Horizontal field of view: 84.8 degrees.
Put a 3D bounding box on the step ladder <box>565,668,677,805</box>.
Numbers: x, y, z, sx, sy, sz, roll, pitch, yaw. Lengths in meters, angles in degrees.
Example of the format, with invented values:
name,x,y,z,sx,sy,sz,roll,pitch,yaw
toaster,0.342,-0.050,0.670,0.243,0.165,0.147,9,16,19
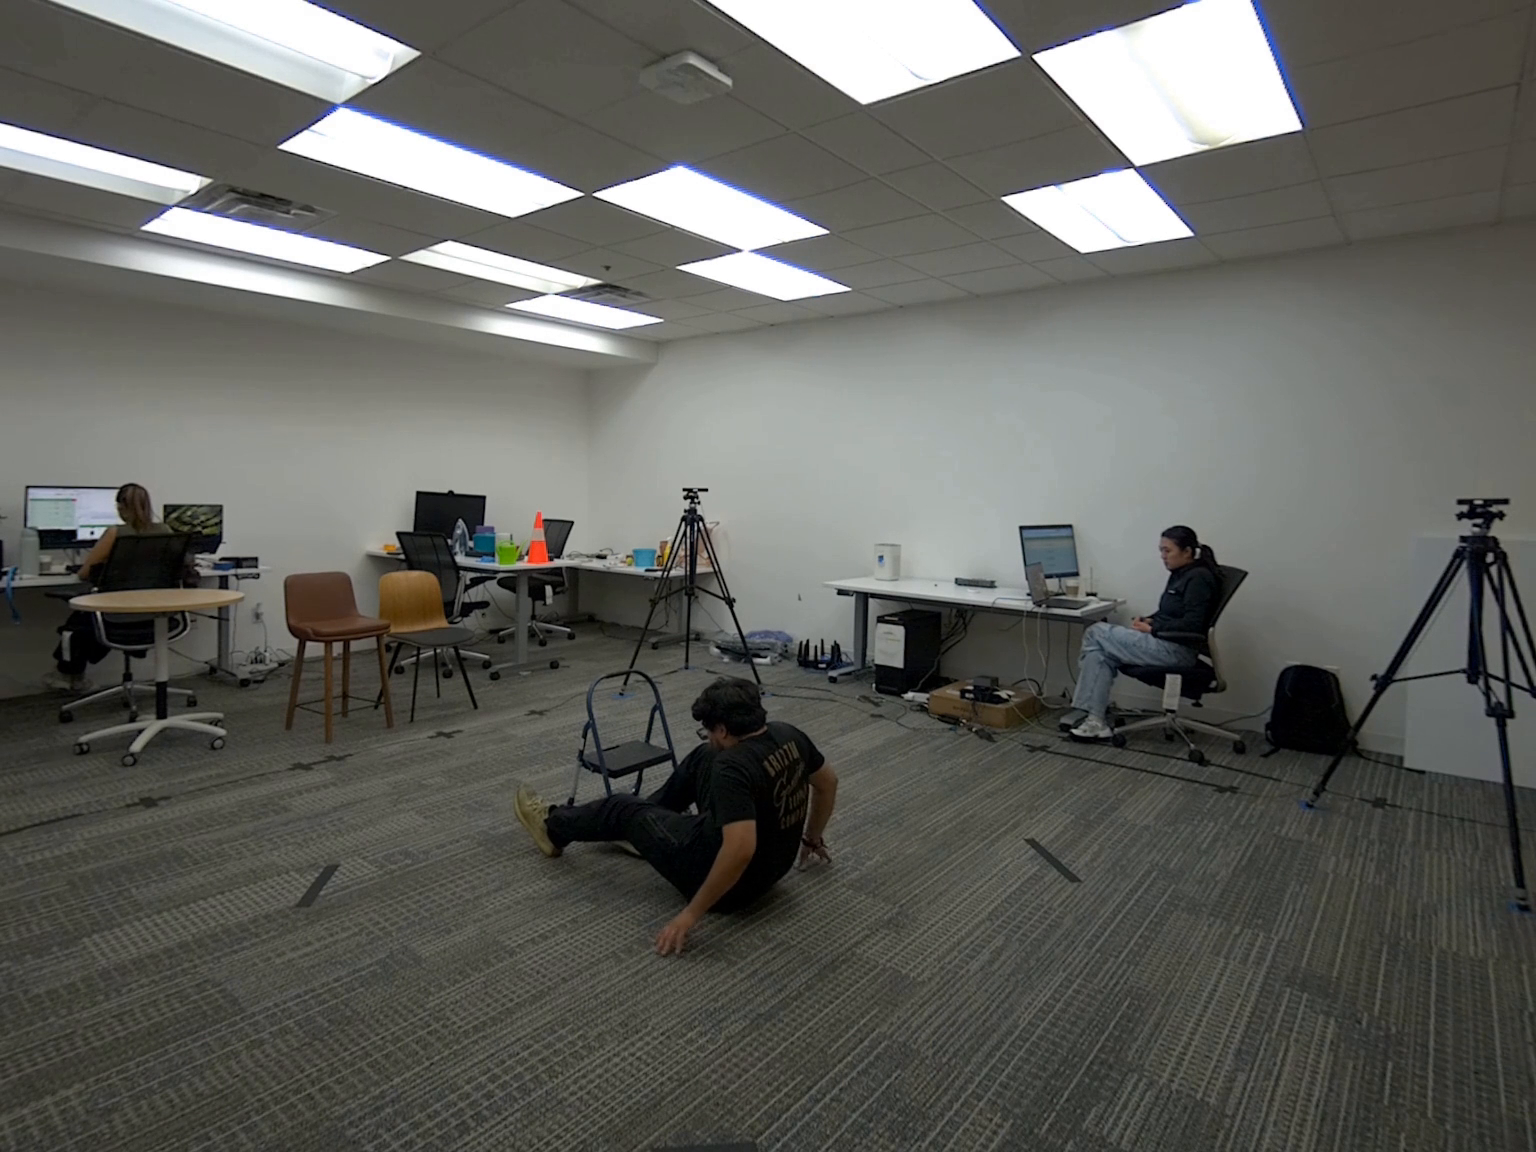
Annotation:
name,x,y,z,sx,sy,sz,roll,pitch,yaw
step ladder,-0.597,0.713,3.599,0.361,0.604,0.418,4,4,38
